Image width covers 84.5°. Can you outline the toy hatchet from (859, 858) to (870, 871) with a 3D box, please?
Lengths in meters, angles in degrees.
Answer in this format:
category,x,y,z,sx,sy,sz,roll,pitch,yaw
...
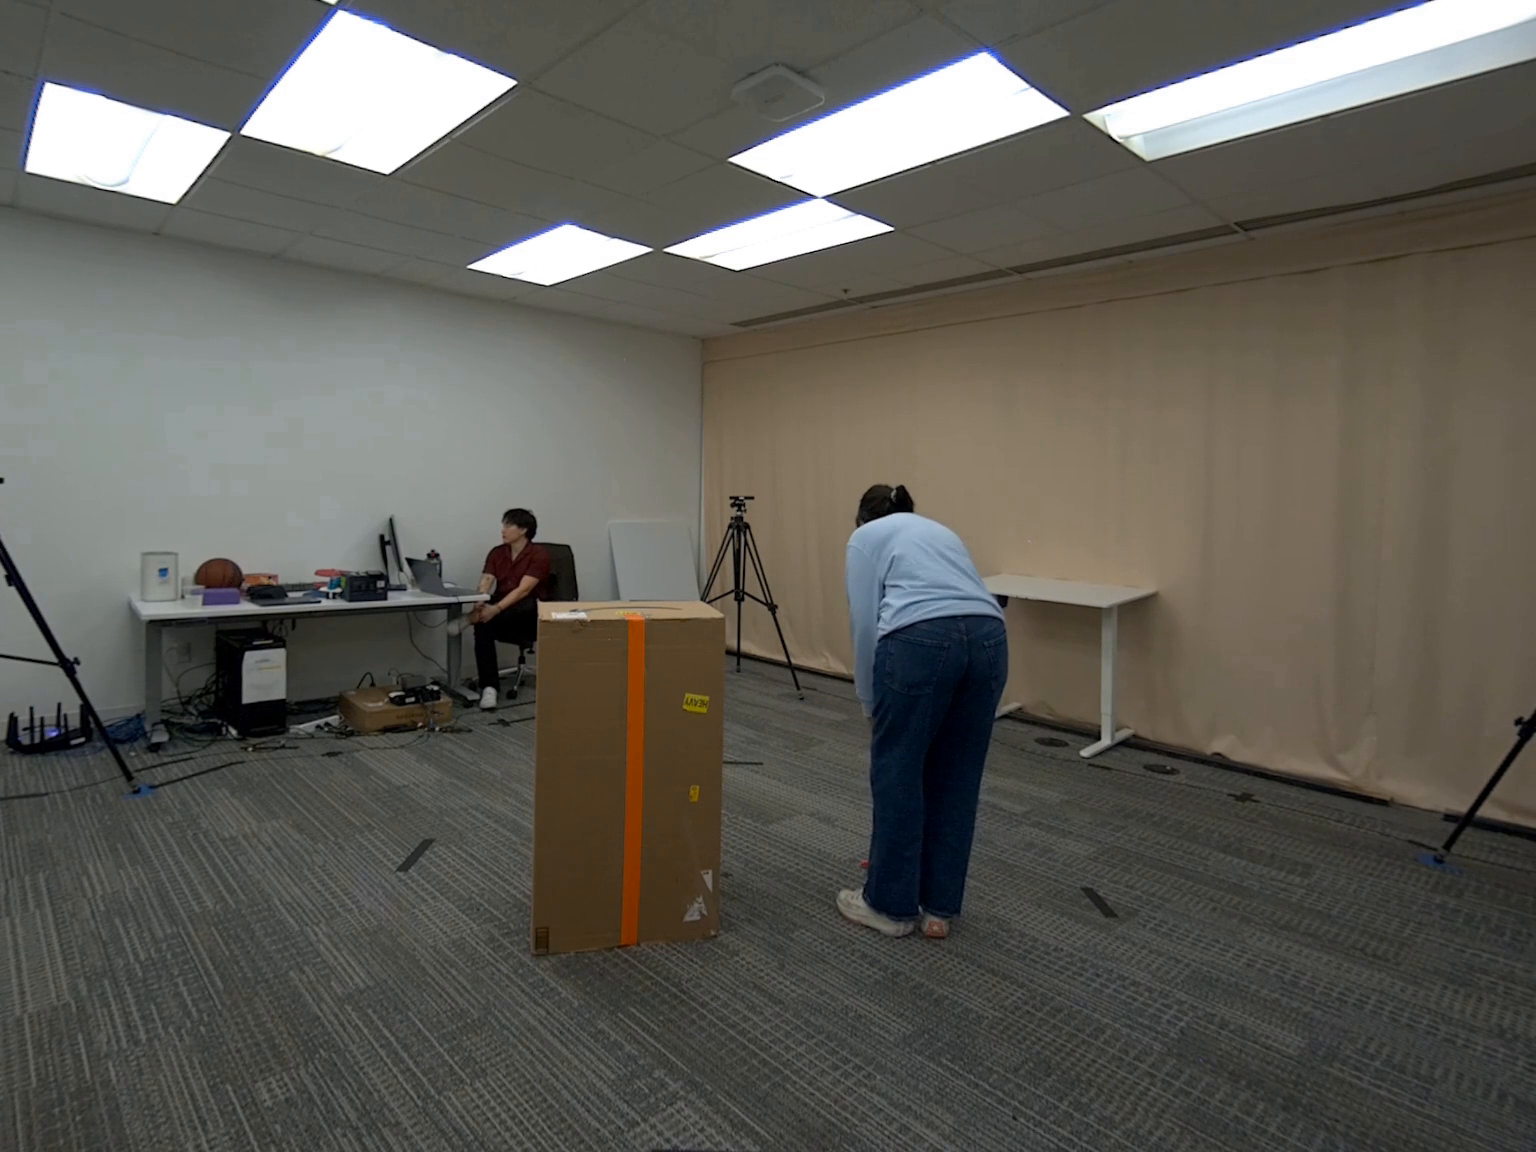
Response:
category,x,y,z,sx,sy,sz,roll,pitch,yaw
toy hatchet,0.435,1.113,3.079,0.130,0.029,0.273,2,8,-11
